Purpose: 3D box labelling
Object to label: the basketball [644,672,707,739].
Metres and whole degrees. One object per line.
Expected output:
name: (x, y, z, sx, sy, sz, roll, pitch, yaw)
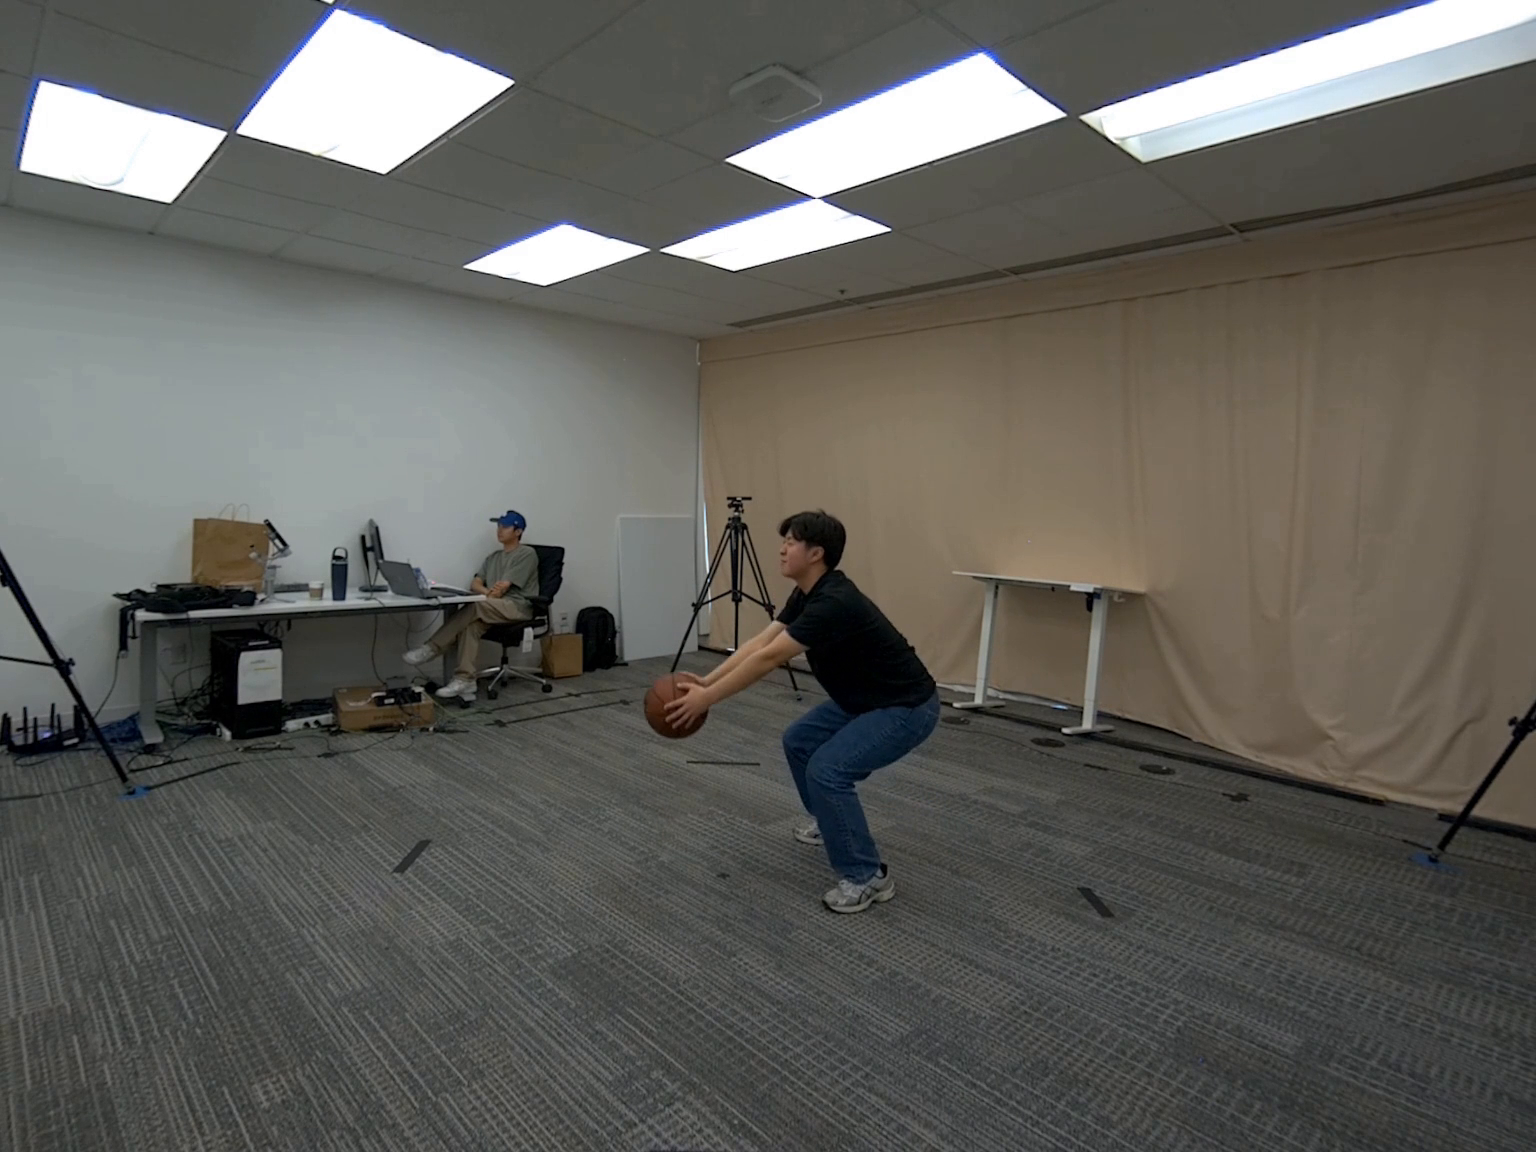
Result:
basketball: (-0.334, 0.473, 3.073, 0.236, 0.235, 0.237, 1, 4, -1)
